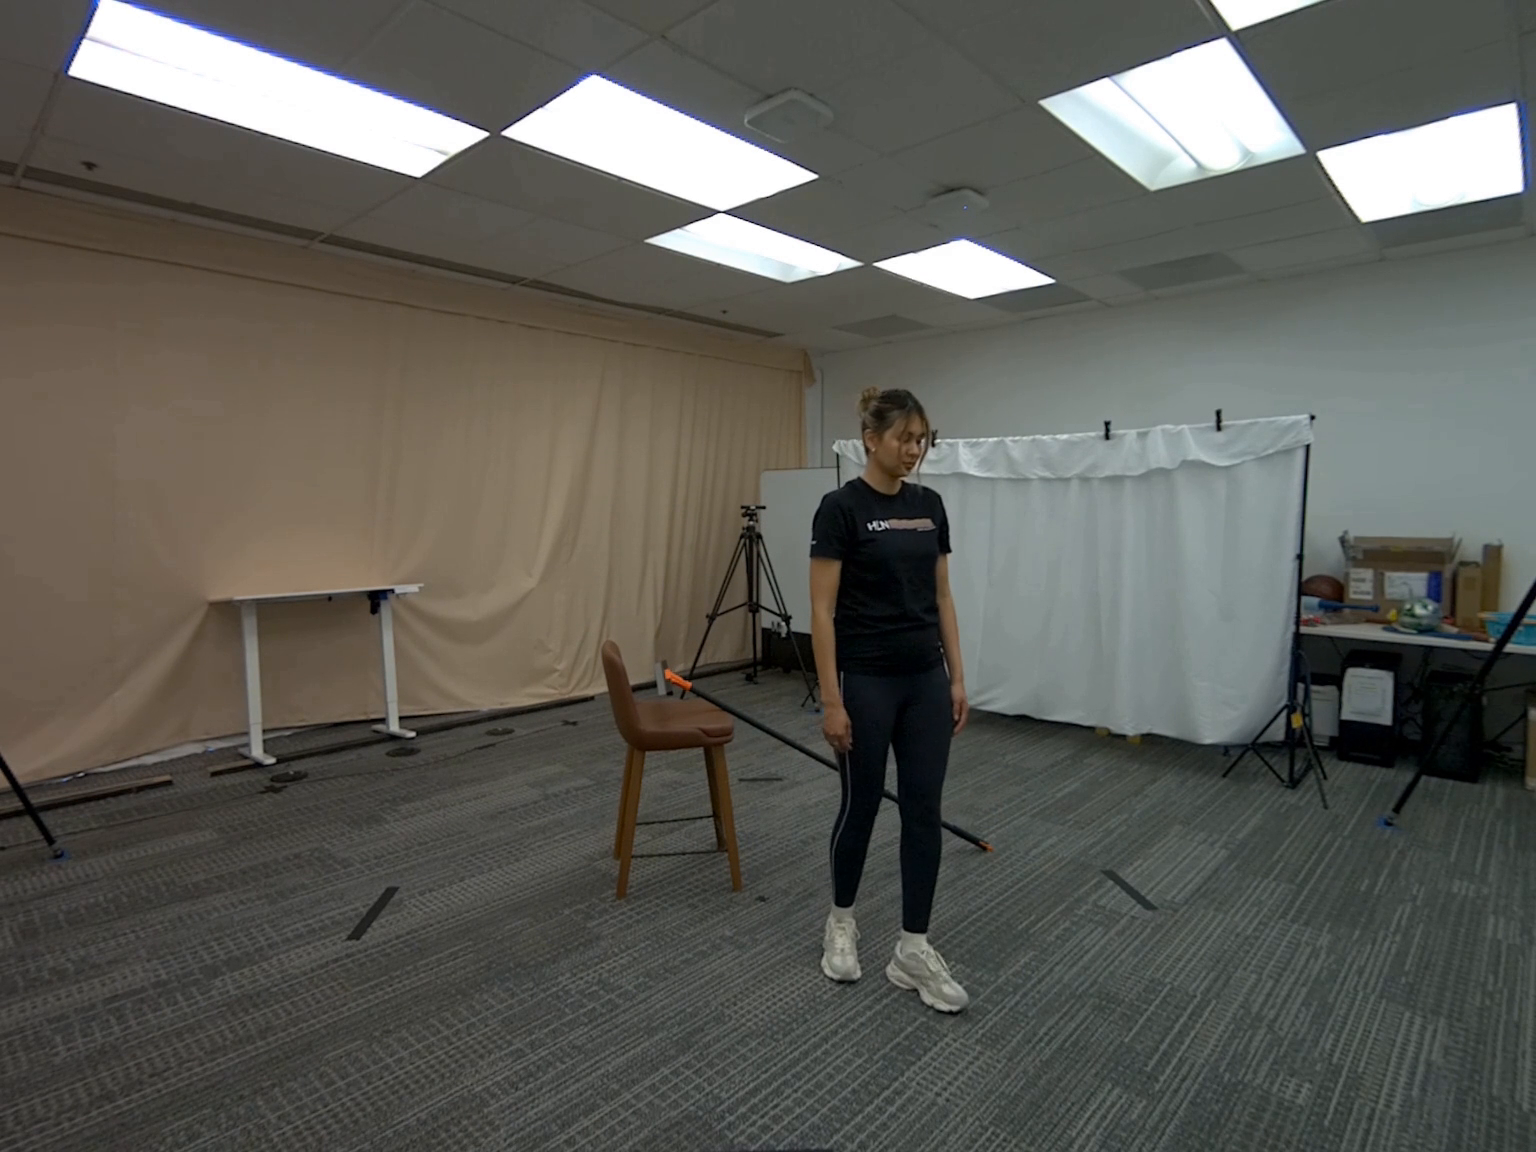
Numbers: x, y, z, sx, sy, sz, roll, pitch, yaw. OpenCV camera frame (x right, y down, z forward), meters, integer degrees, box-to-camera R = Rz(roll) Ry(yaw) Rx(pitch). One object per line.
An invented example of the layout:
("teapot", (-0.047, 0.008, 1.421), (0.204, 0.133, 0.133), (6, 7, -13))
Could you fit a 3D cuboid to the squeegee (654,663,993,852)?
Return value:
("squeegee", (0.245, 0.727, 3.276), (1.518, 0.053, 0.443), (29, 19, -10))
